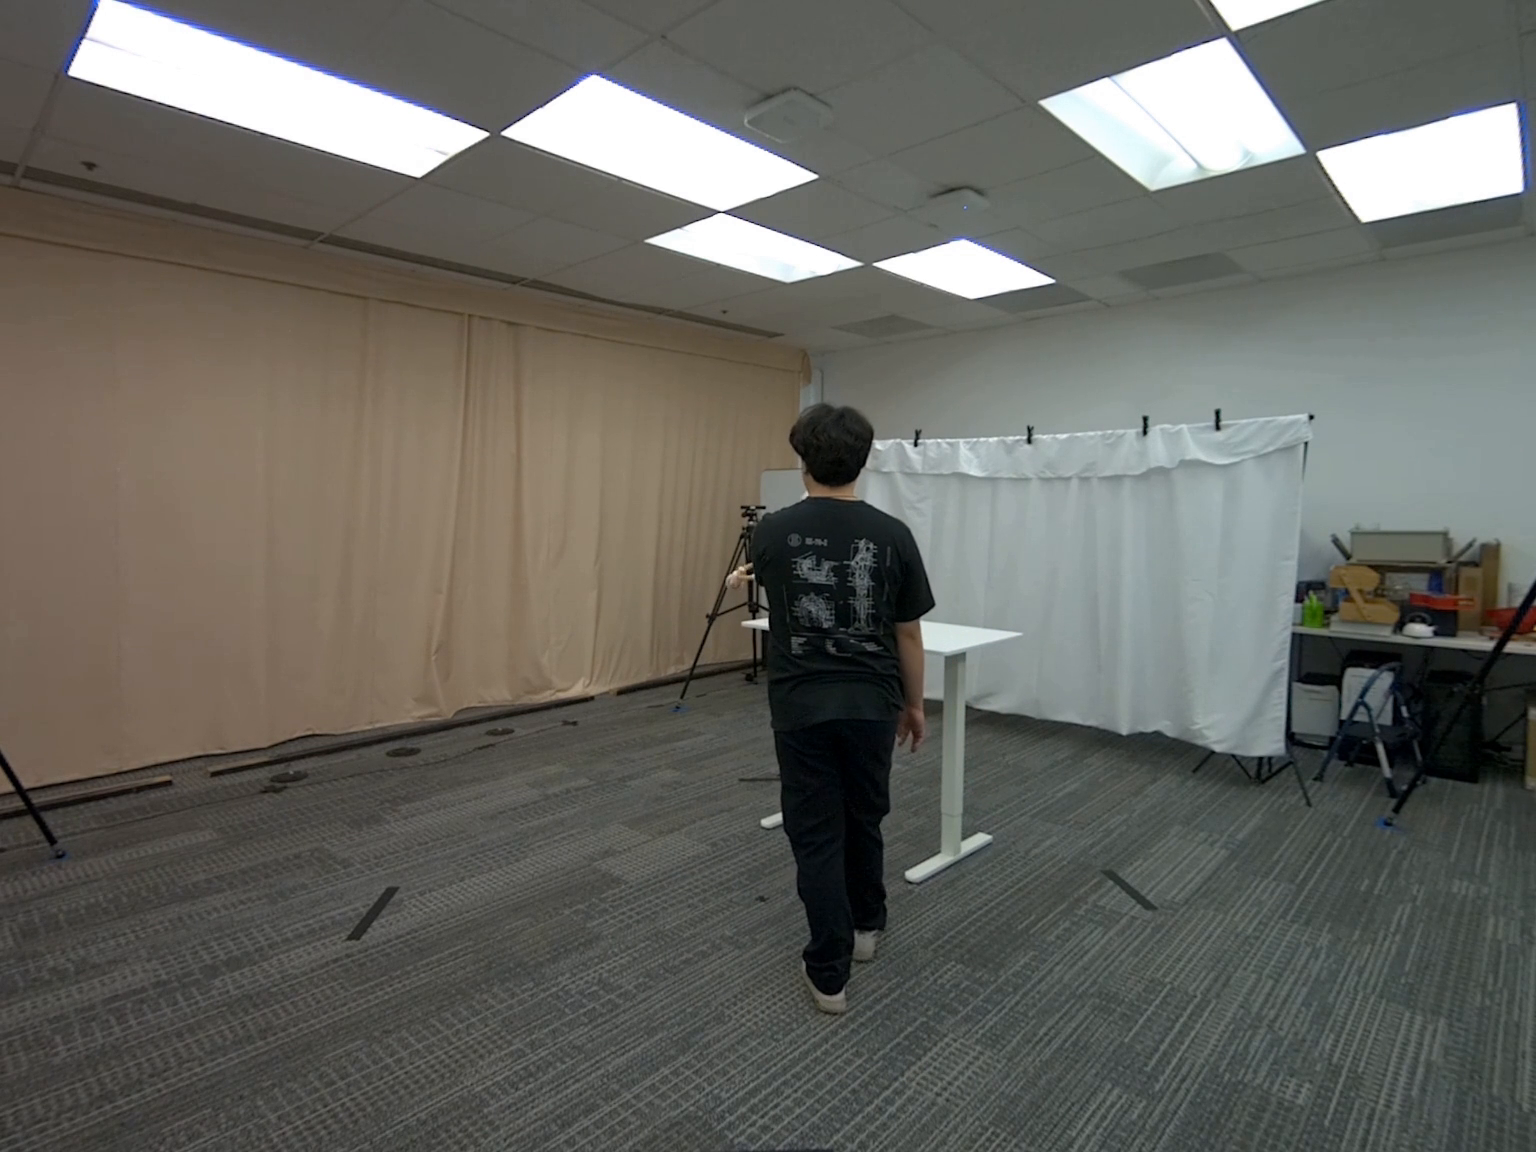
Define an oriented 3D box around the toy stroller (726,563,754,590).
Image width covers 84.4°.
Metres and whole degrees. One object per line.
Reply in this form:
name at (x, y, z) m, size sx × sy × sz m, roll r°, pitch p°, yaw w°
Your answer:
toy stroller at (0.095, -0.093, 3.015) m, size 0.346 × 0.534 × 0.278 m, roll 34°, pitch 25°, yaw 11°
